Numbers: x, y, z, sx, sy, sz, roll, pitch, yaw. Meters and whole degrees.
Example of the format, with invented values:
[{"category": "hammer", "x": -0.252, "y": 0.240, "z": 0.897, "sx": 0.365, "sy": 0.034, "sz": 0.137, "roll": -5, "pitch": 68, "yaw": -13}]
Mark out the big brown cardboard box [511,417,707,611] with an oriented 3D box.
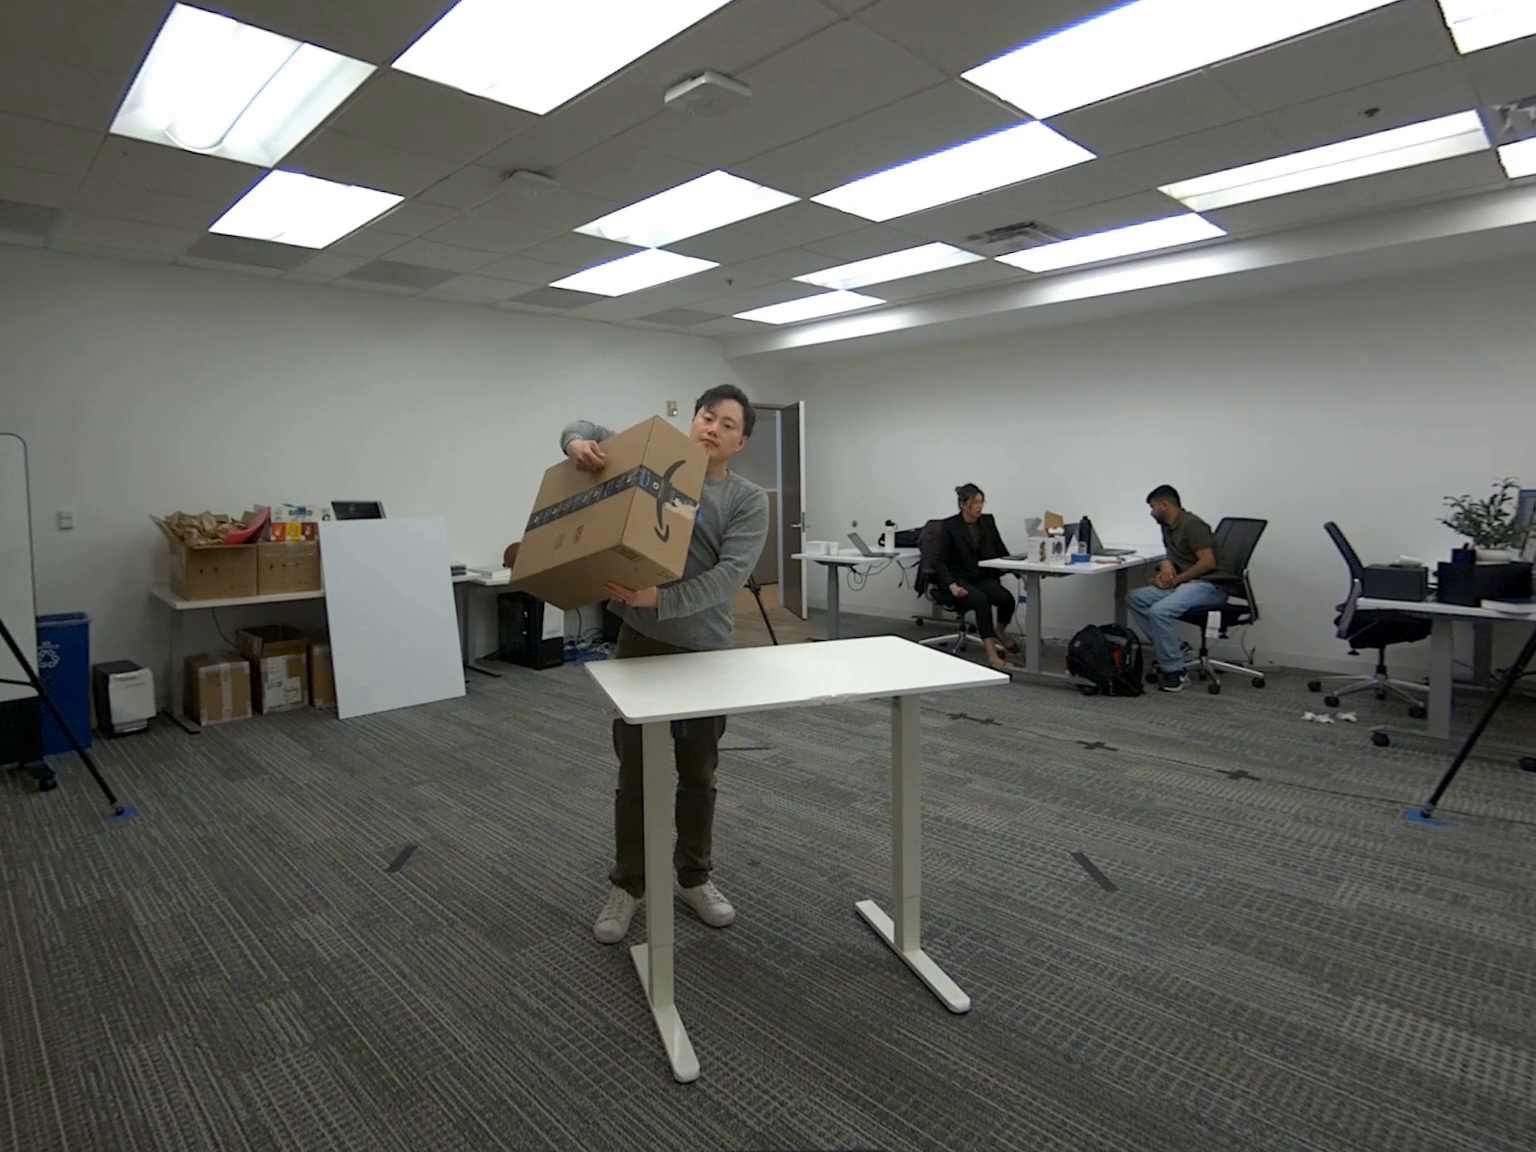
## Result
[{"category": "big brown cardboard box", "x": -0.474, "y": -0.161, "z": 2.522, "sx": 0.225, "sy": 0.424, "sz": 0.600, "roll": 31, "pitch": -32, "yaw": -35}]
